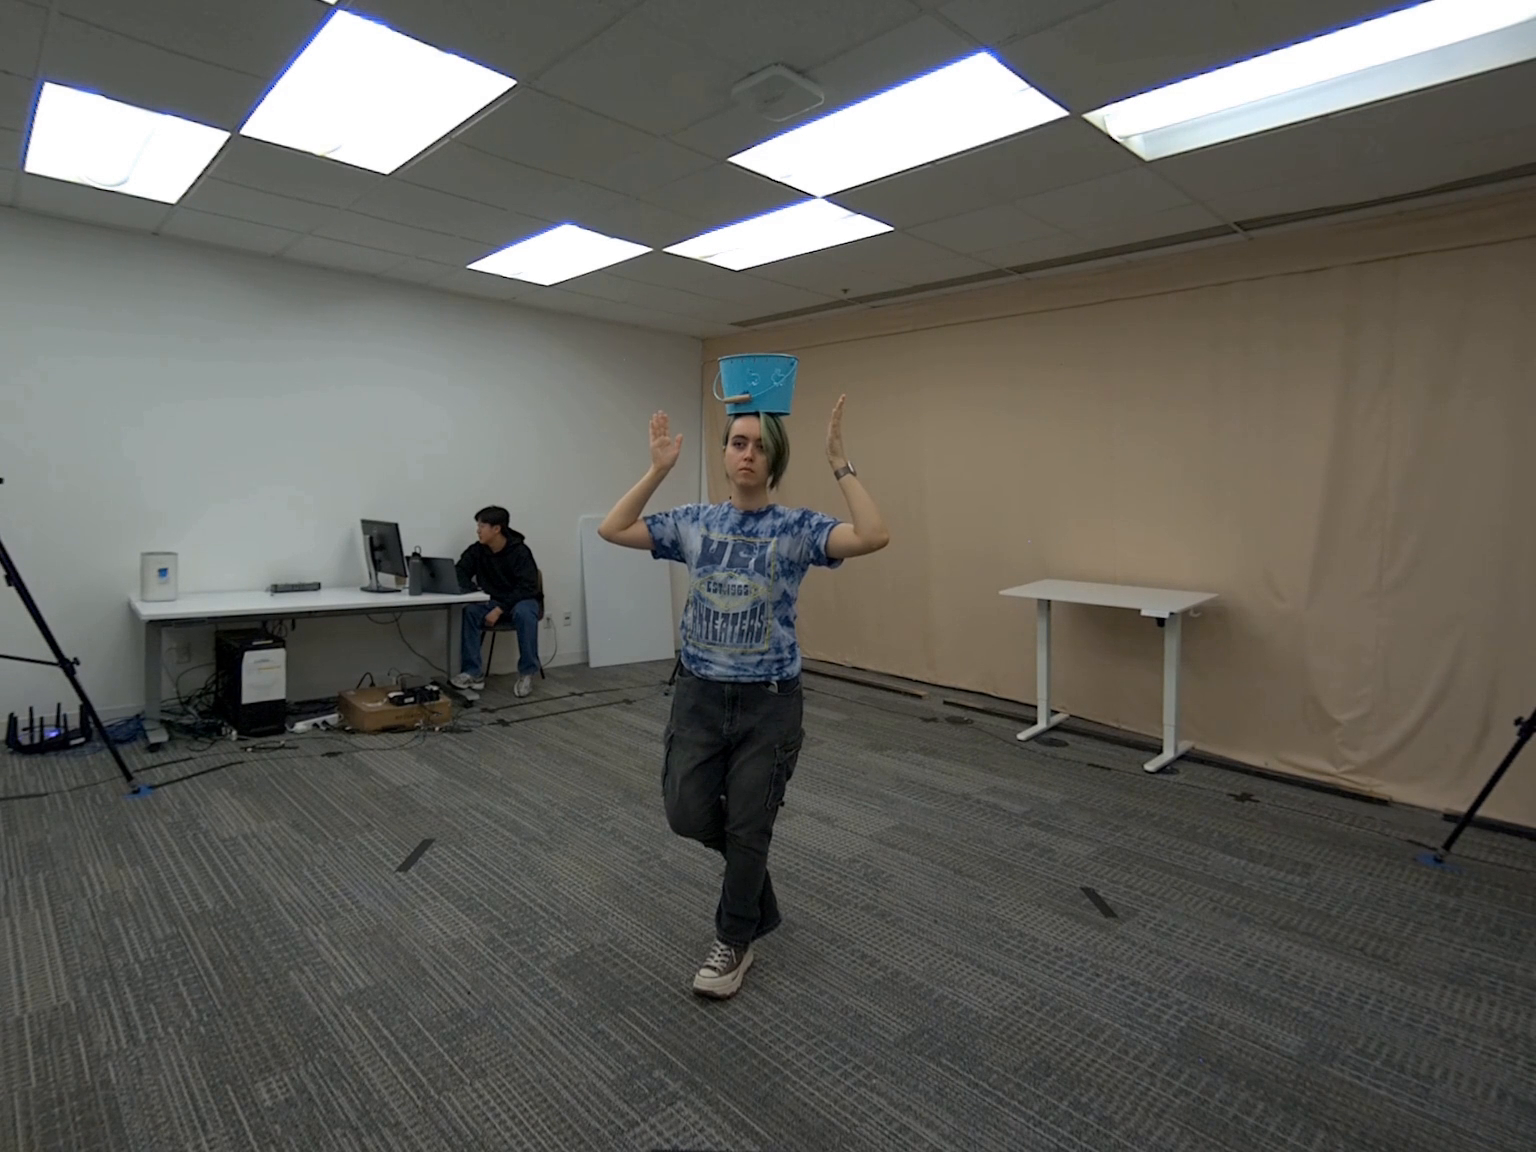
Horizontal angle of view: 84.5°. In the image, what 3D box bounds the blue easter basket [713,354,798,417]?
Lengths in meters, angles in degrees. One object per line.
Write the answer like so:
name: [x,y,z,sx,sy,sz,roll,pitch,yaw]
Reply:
blue easter basket: [-0.030,-0.529,2.359,0.243,0.155,0.245,0,6,-1]
